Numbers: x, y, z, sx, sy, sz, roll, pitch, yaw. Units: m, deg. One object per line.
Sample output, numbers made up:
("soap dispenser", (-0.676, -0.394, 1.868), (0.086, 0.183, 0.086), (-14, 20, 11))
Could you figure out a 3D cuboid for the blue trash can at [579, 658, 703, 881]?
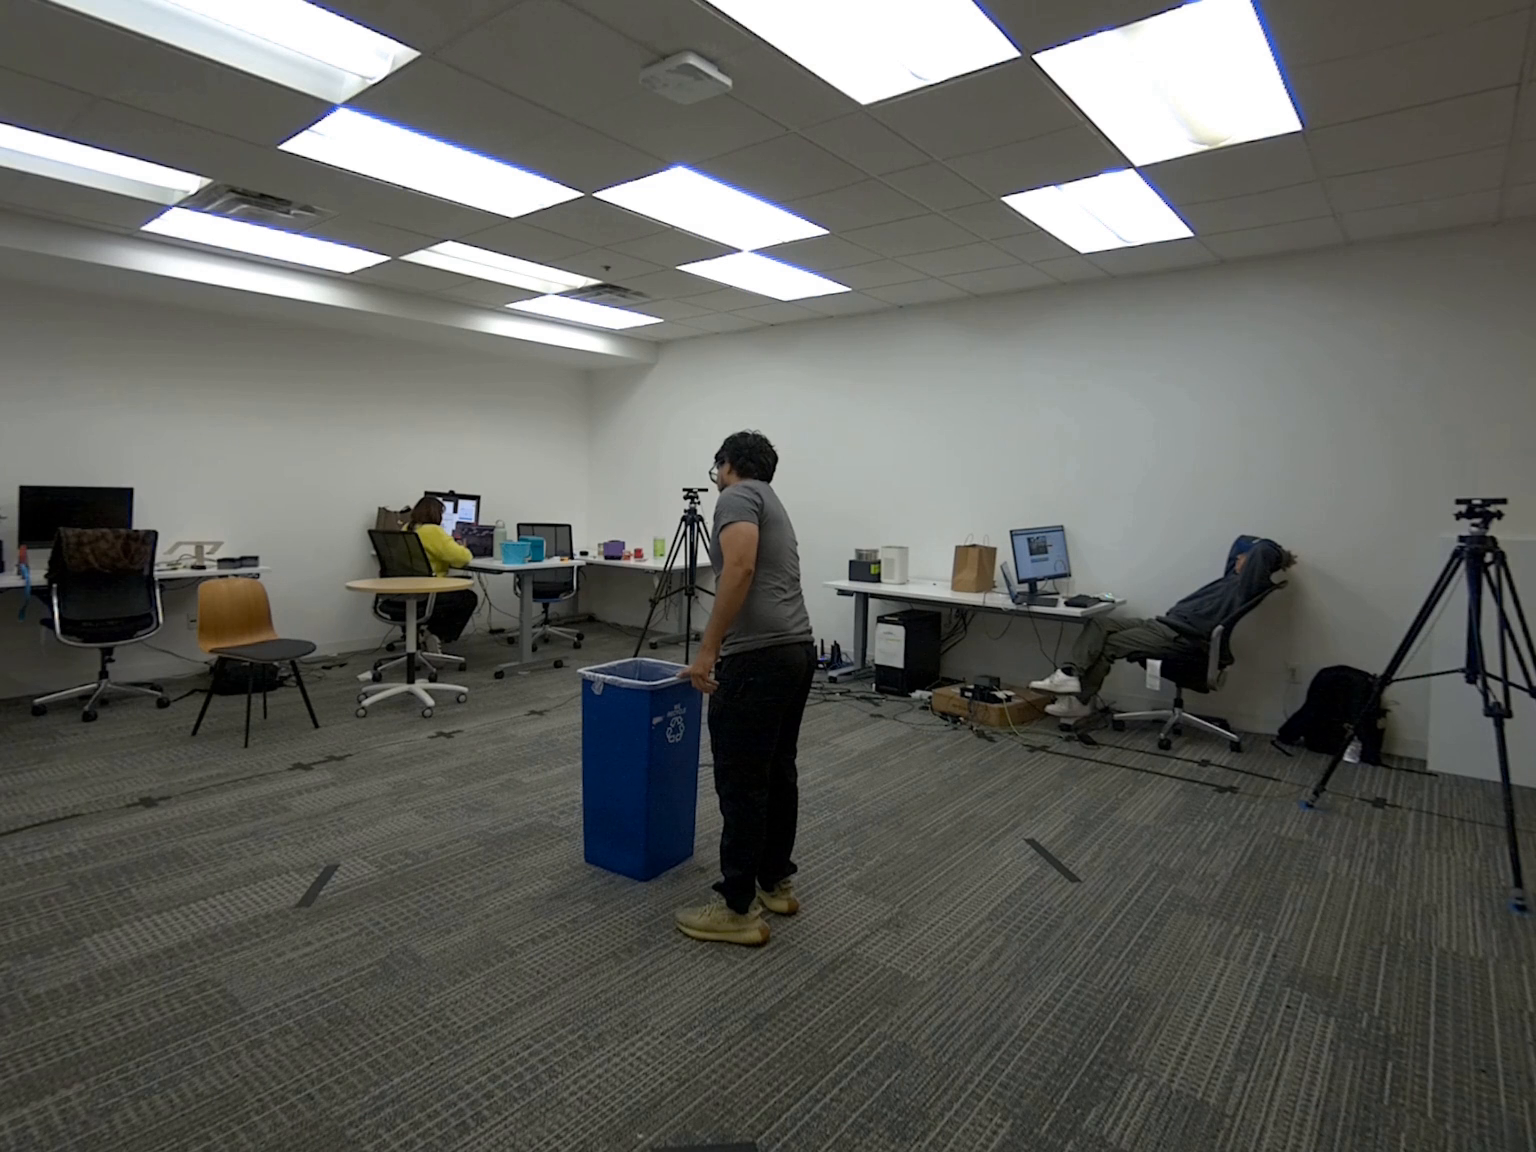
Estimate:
("blue trash can", (-0.484, 0.699, 3.191), (0.390, 0.712, 0.364), (3, 4, 33))
